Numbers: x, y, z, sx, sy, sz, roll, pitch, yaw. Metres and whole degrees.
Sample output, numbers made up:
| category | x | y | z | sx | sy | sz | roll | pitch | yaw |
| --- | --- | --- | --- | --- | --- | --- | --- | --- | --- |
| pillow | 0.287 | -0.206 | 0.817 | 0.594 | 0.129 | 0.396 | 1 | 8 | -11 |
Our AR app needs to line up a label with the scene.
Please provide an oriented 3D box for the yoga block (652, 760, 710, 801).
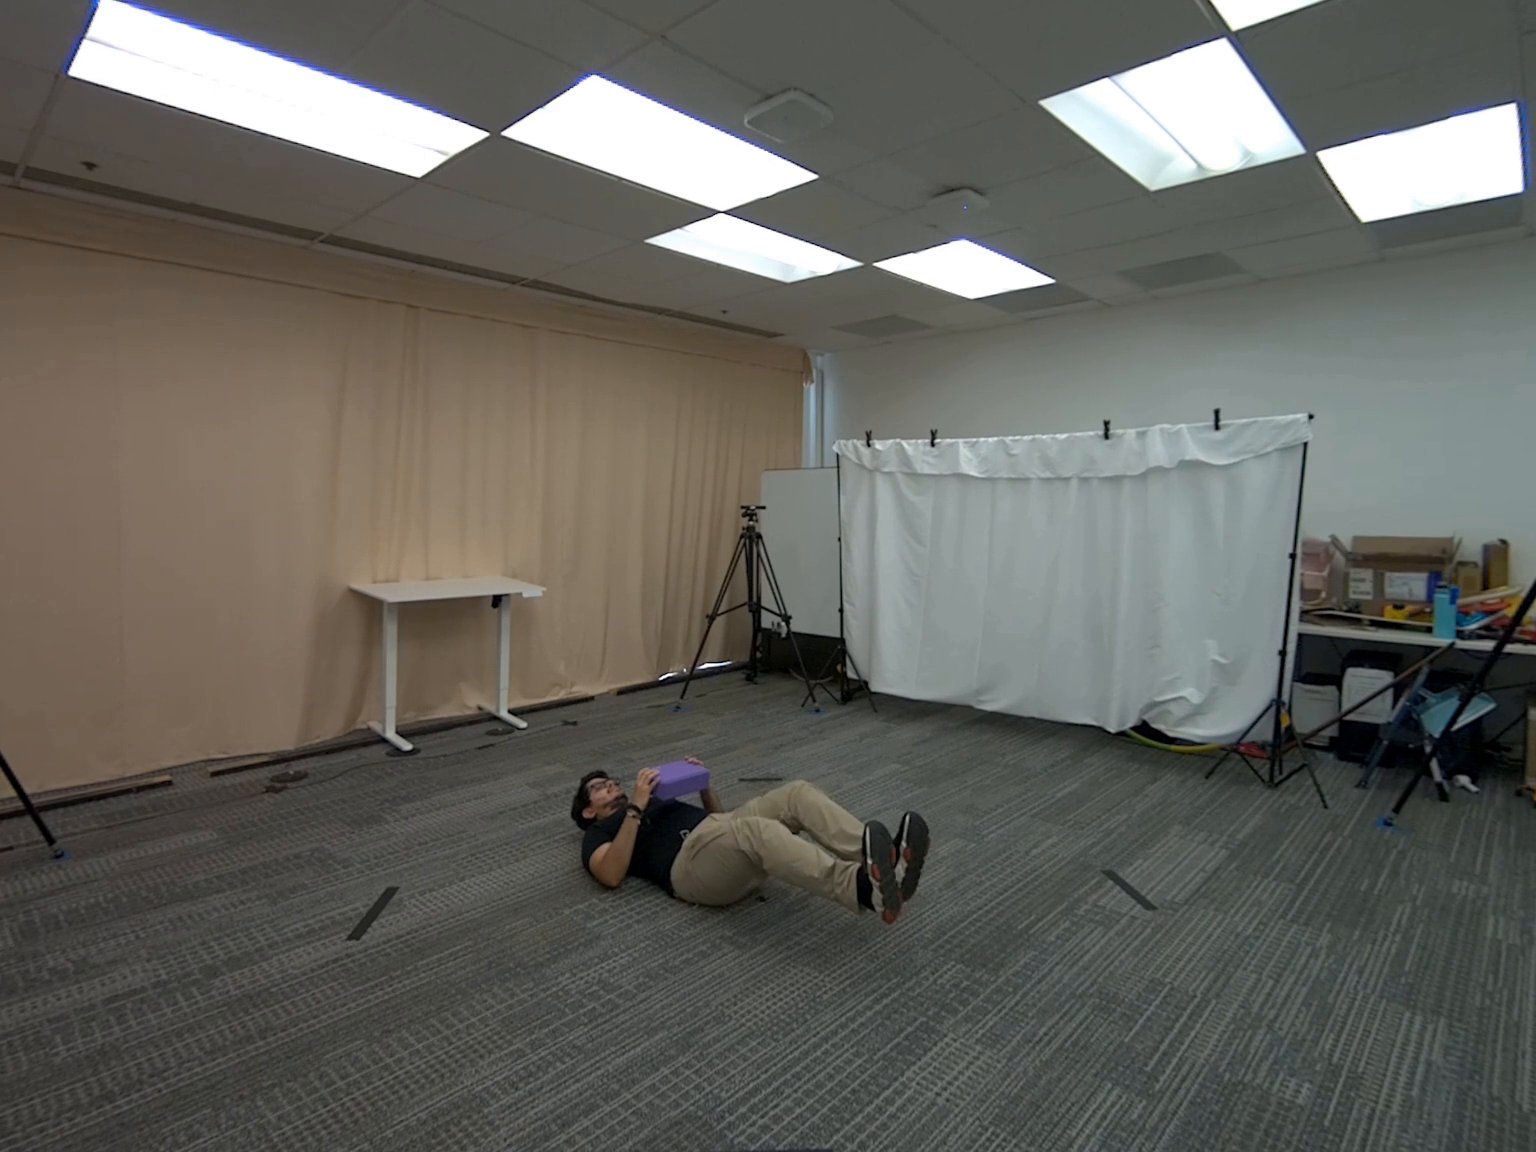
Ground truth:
| category | x | y | z | sx | sy | sz | roll | pitch | yaw |
| --- | --- | --- | --- | --- | --- | --- | --- | --- | --- |
| yoga block | -0.351 | 0.767 | 3.161 | 0.222 | 0.076 | 0.154 | -4 | 11 | -44 |
